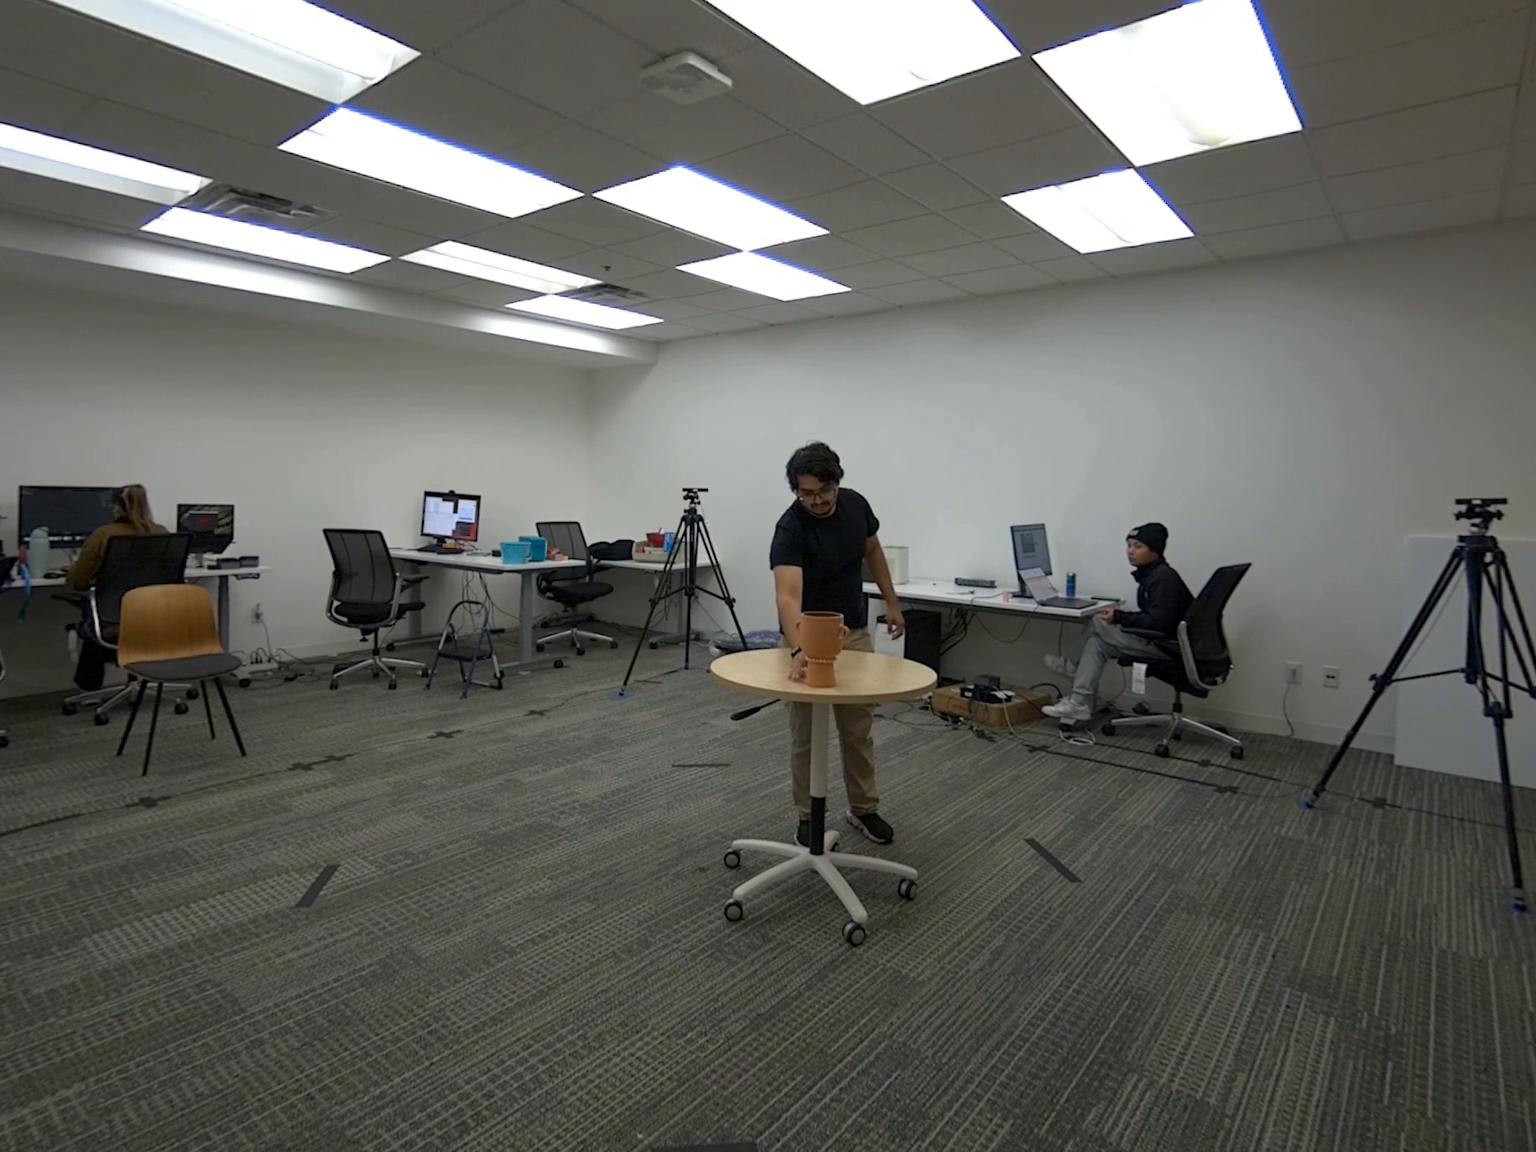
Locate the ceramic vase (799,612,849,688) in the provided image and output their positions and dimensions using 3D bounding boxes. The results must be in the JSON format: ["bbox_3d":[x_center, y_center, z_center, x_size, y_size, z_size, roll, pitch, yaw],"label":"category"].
[{"bbox_3d":[0.164,0.230,2.665,0.133,0.219,0.161,1,4,-13],"label":"ceramic vase"}]
